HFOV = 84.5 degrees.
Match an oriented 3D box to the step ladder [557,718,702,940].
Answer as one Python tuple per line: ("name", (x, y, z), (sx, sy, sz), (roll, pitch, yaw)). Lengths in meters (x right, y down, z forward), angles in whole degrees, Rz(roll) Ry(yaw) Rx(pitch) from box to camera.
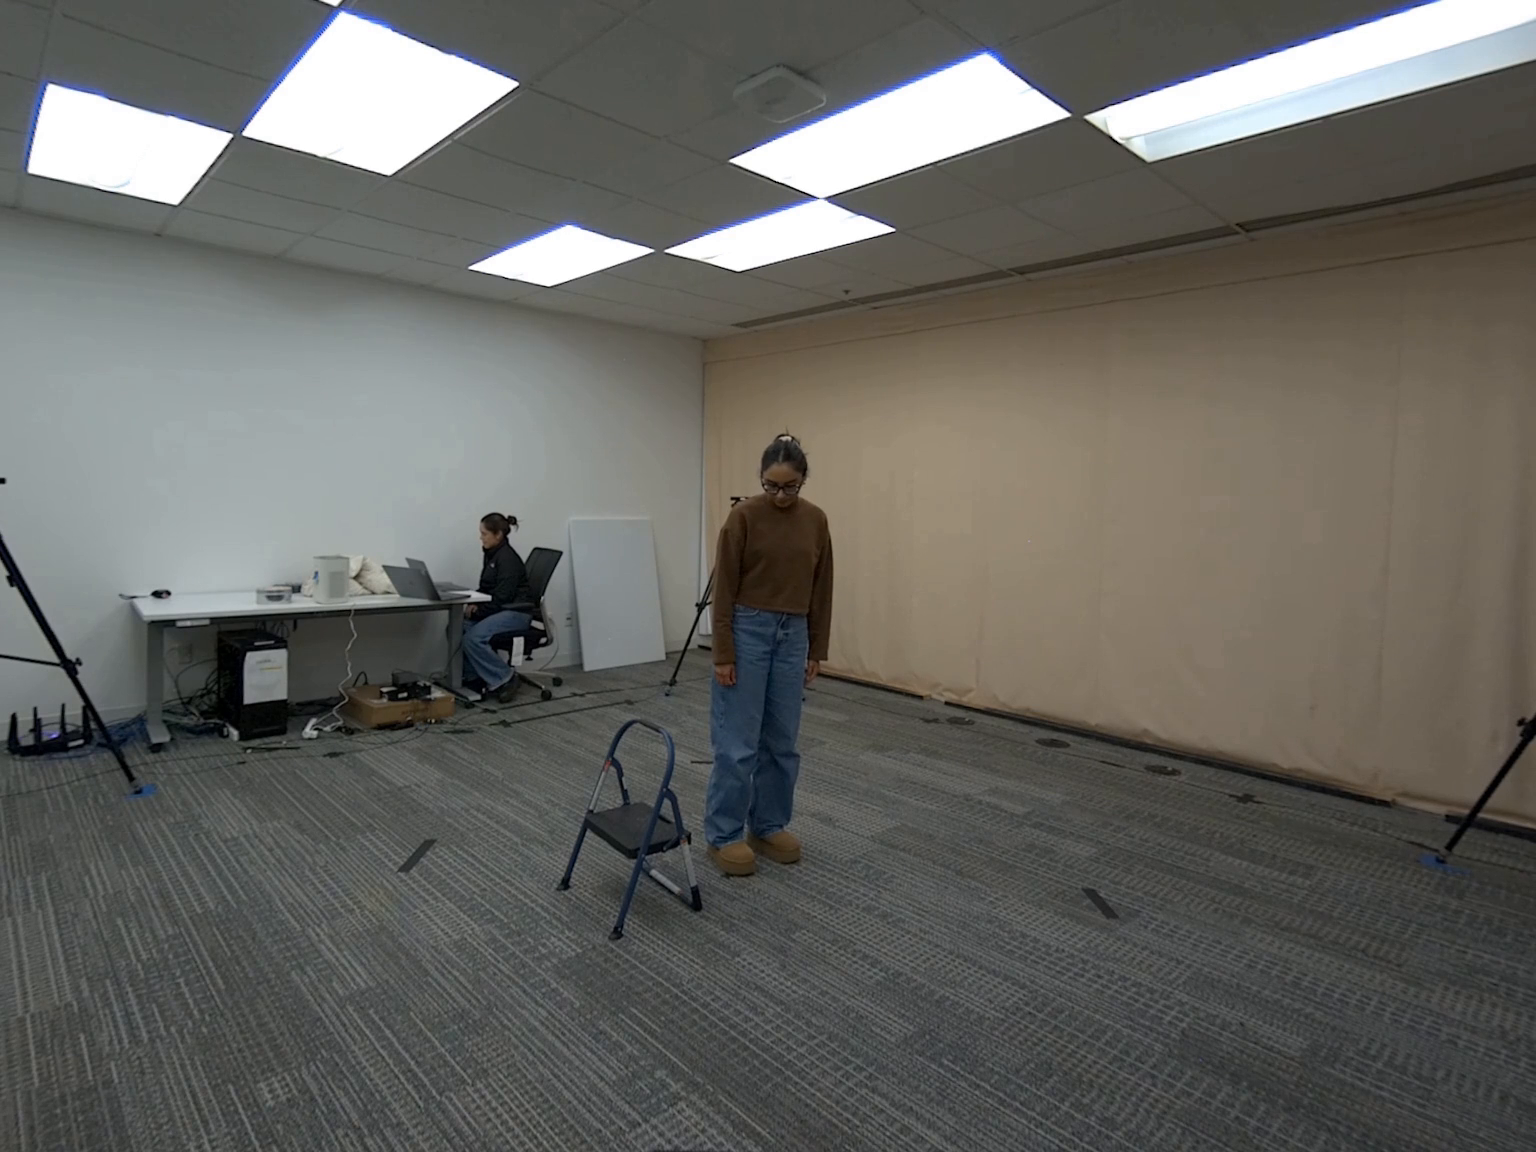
("step ladder", (-0.475, 0.815, 2.886), (0.341, 0.605, 0.441), (0, 4, -37))
